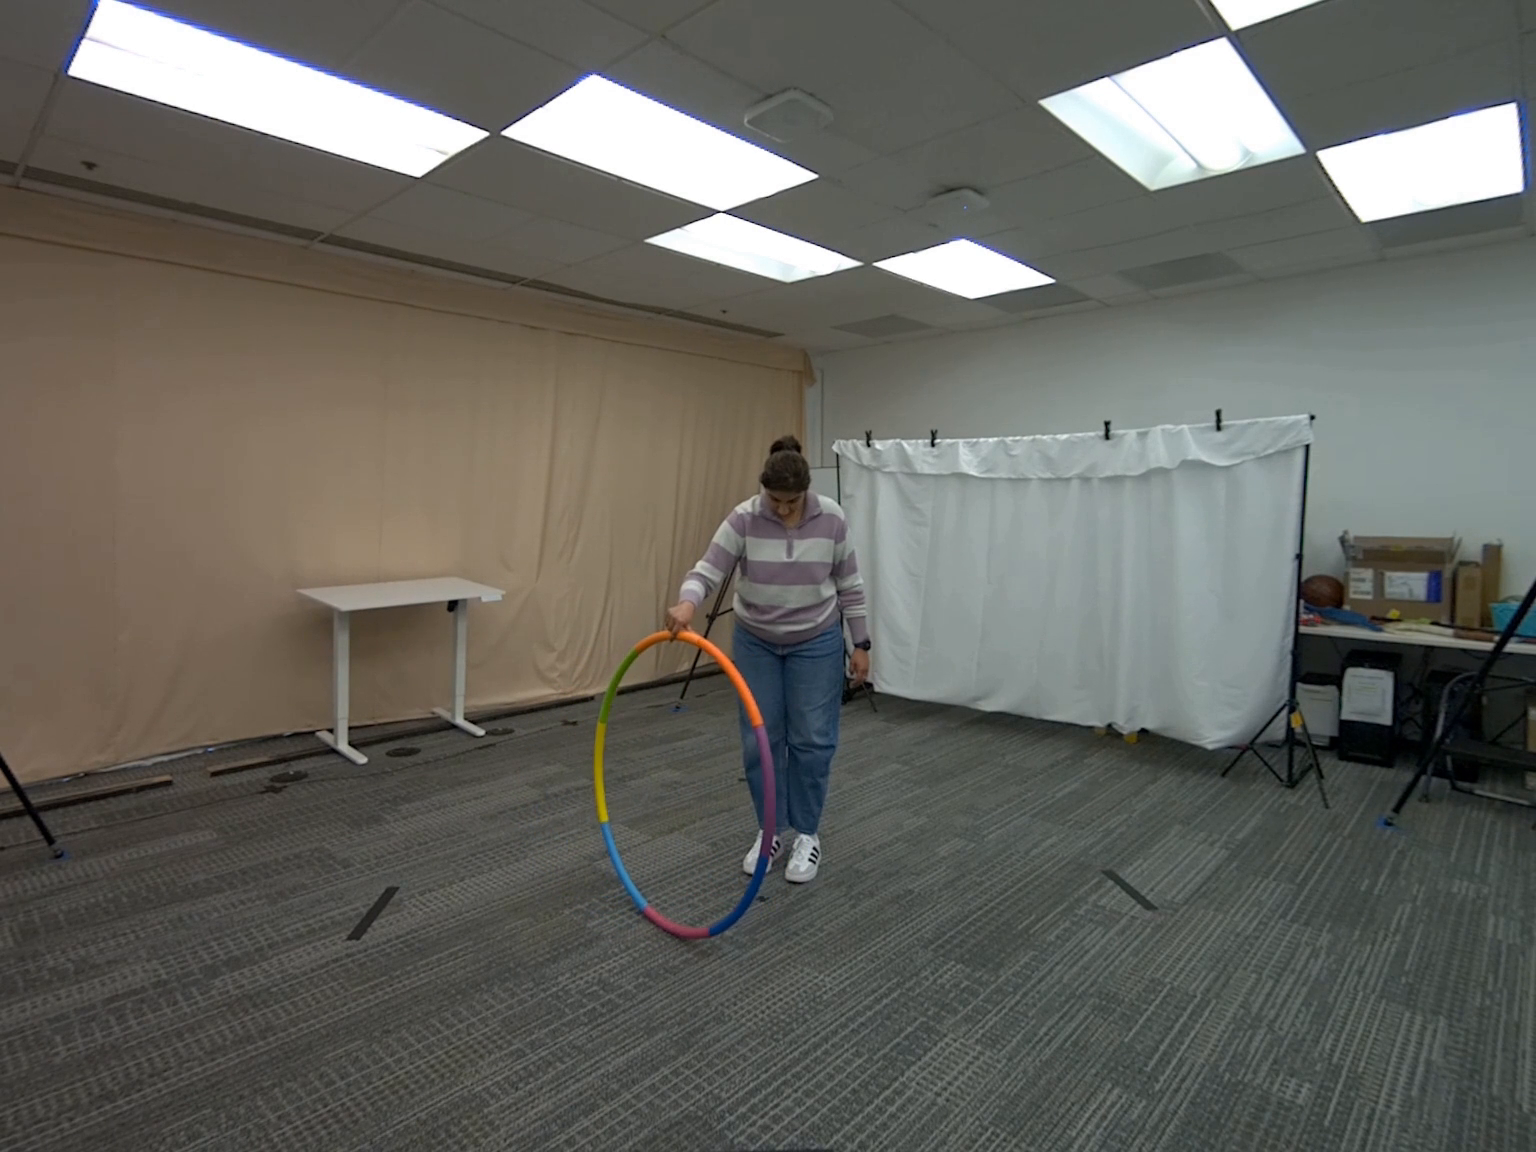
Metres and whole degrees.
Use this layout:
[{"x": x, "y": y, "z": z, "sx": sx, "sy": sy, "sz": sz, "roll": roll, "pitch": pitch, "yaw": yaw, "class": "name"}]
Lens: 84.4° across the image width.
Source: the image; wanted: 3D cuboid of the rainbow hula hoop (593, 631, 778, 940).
[{"x": -0.315, "y": 0.673, "z": 2.793, "sx": 0.034, "sy": 0.979, "sz": 1.011, "roll": 6, "pitch": -1, "yaw": -40, "class": "rainbow hula hoop"}]
